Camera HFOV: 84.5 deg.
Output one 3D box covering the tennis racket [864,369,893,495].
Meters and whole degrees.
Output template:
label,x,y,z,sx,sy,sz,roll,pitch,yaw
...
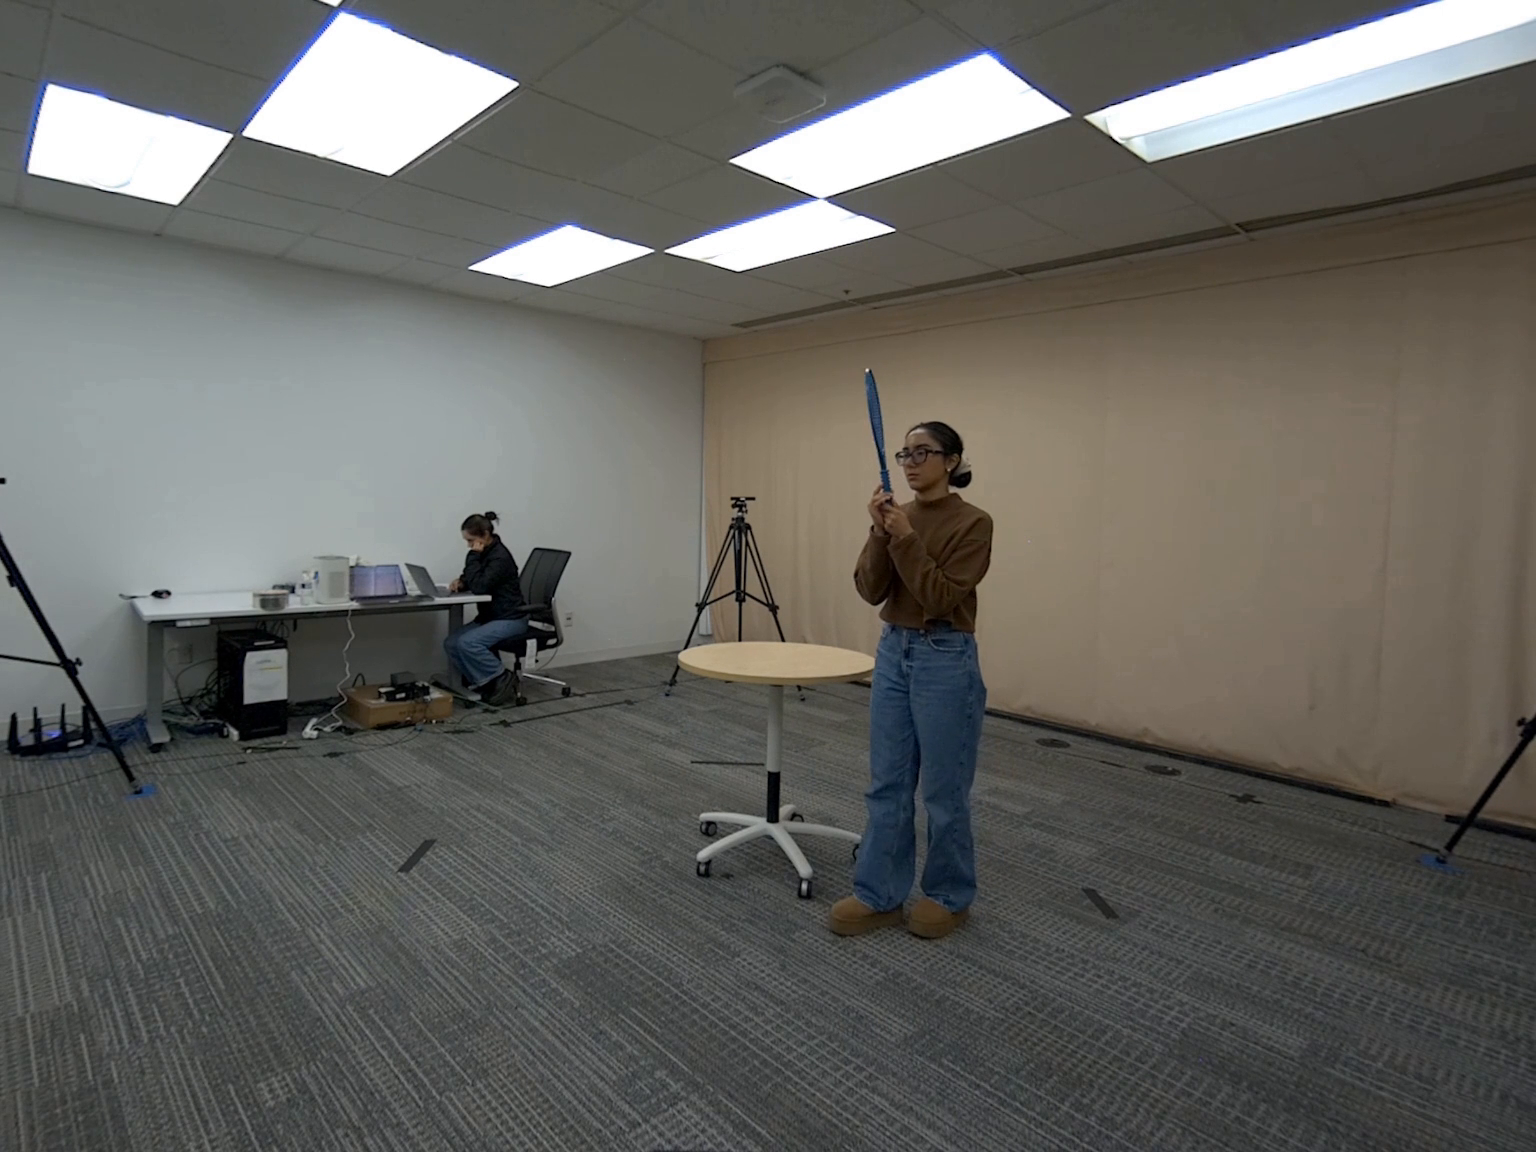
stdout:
label,x,y,z,sx,sy,sz,roll,pitch,yaw
tennis racket,0.340,-0.421,2.588,0.032,0.430,0.212,-6,8,19
